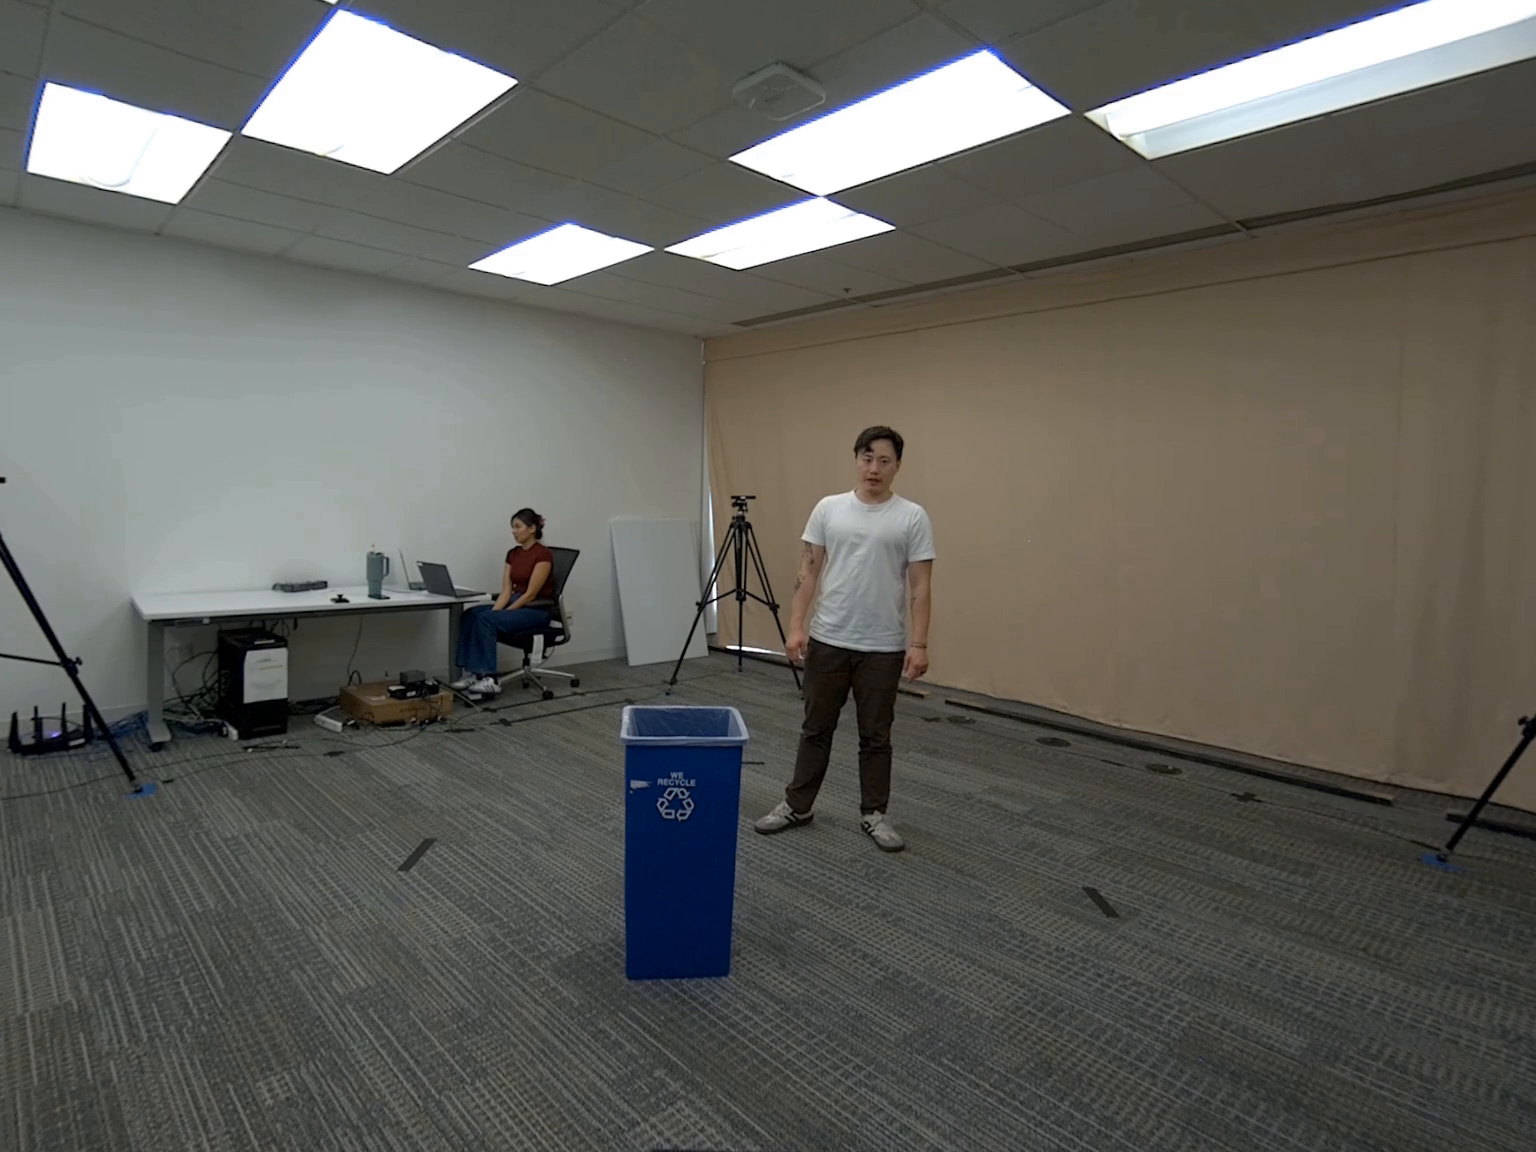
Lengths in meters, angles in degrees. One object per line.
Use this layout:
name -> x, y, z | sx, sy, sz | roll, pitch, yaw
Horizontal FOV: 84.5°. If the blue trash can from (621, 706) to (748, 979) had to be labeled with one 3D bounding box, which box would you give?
blue trash can -> -0.274, 0.796, 2.544 | 0.376, 0.712, 0.377 | 1, 3, -7
